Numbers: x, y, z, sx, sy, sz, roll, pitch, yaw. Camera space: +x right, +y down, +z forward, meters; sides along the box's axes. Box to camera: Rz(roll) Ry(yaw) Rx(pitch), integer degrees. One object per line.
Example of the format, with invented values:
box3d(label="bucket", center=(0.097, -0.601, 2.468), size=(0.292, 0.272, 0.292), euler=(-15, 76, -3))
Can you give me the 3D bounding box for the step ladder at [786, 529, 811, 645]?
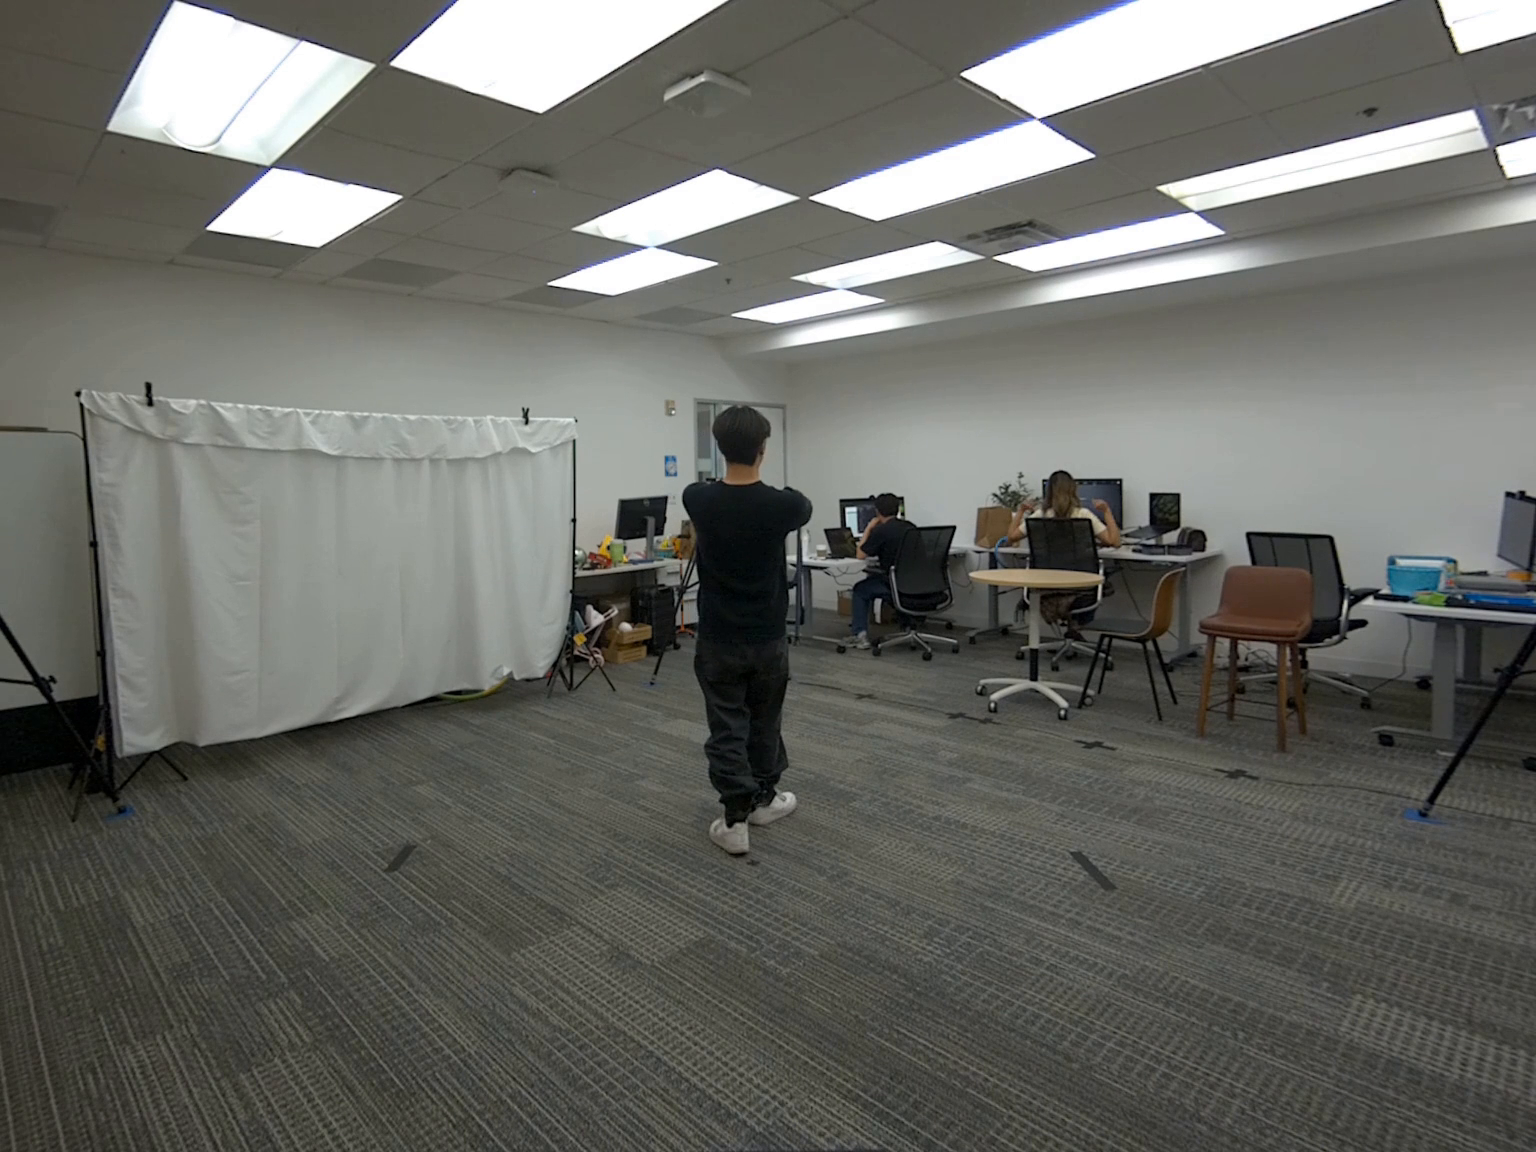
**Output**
box3d(label="step ladder", center=(-0.051, -0.044, 3.761), size=(0.434, 0.601, 0.349), euler=(1, 9, 8))
